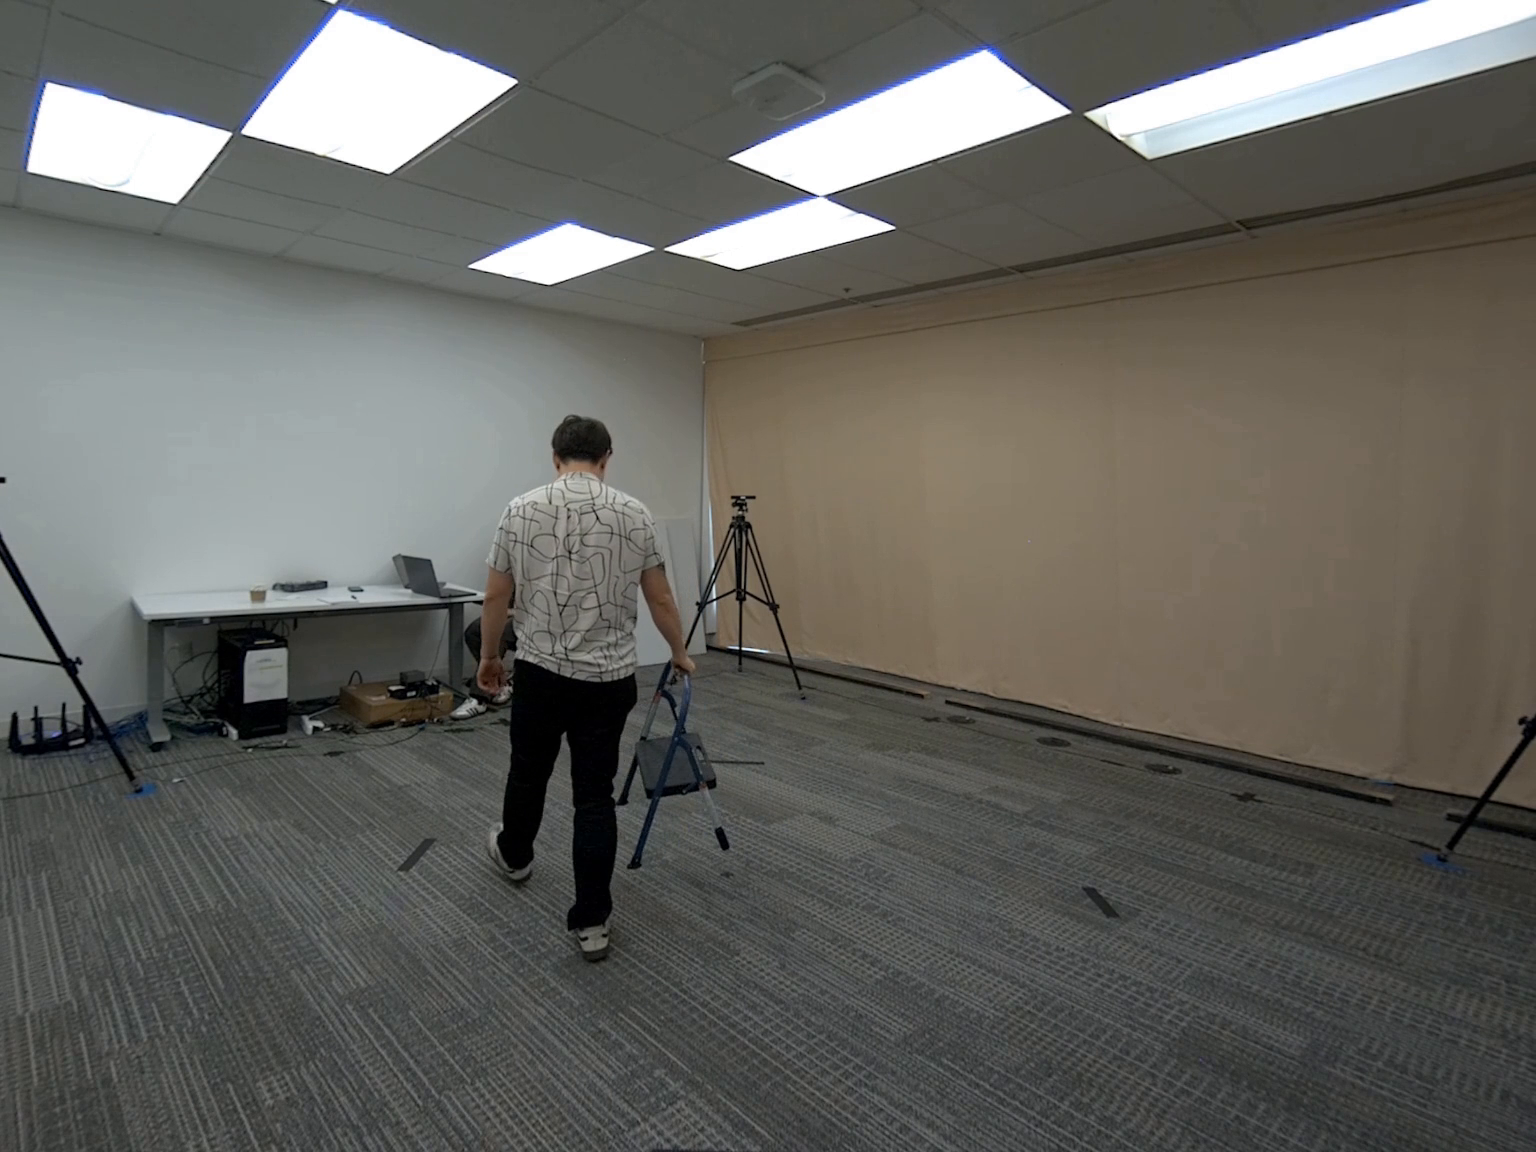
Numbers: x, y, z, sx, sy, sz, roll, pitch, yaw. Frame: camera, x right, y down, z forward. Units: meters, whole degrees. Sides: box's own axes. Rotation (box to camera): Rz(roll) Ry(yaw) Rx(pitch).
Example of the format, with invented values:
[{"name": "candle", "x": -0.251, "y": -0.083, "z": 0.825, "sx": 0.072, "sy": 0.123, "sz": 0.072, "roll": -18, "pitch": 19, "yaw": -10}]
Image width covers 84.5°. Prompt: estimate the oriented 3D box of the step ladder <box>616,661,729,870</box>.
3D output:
[{"name": "step ladder", "x": -0.363, "y": 0.615, "z": 2.931, "sx": 0.346, "sy": 0.599, "sz": 0.440, "roll": -6, "pitch": 16, "yaw": -14}]
